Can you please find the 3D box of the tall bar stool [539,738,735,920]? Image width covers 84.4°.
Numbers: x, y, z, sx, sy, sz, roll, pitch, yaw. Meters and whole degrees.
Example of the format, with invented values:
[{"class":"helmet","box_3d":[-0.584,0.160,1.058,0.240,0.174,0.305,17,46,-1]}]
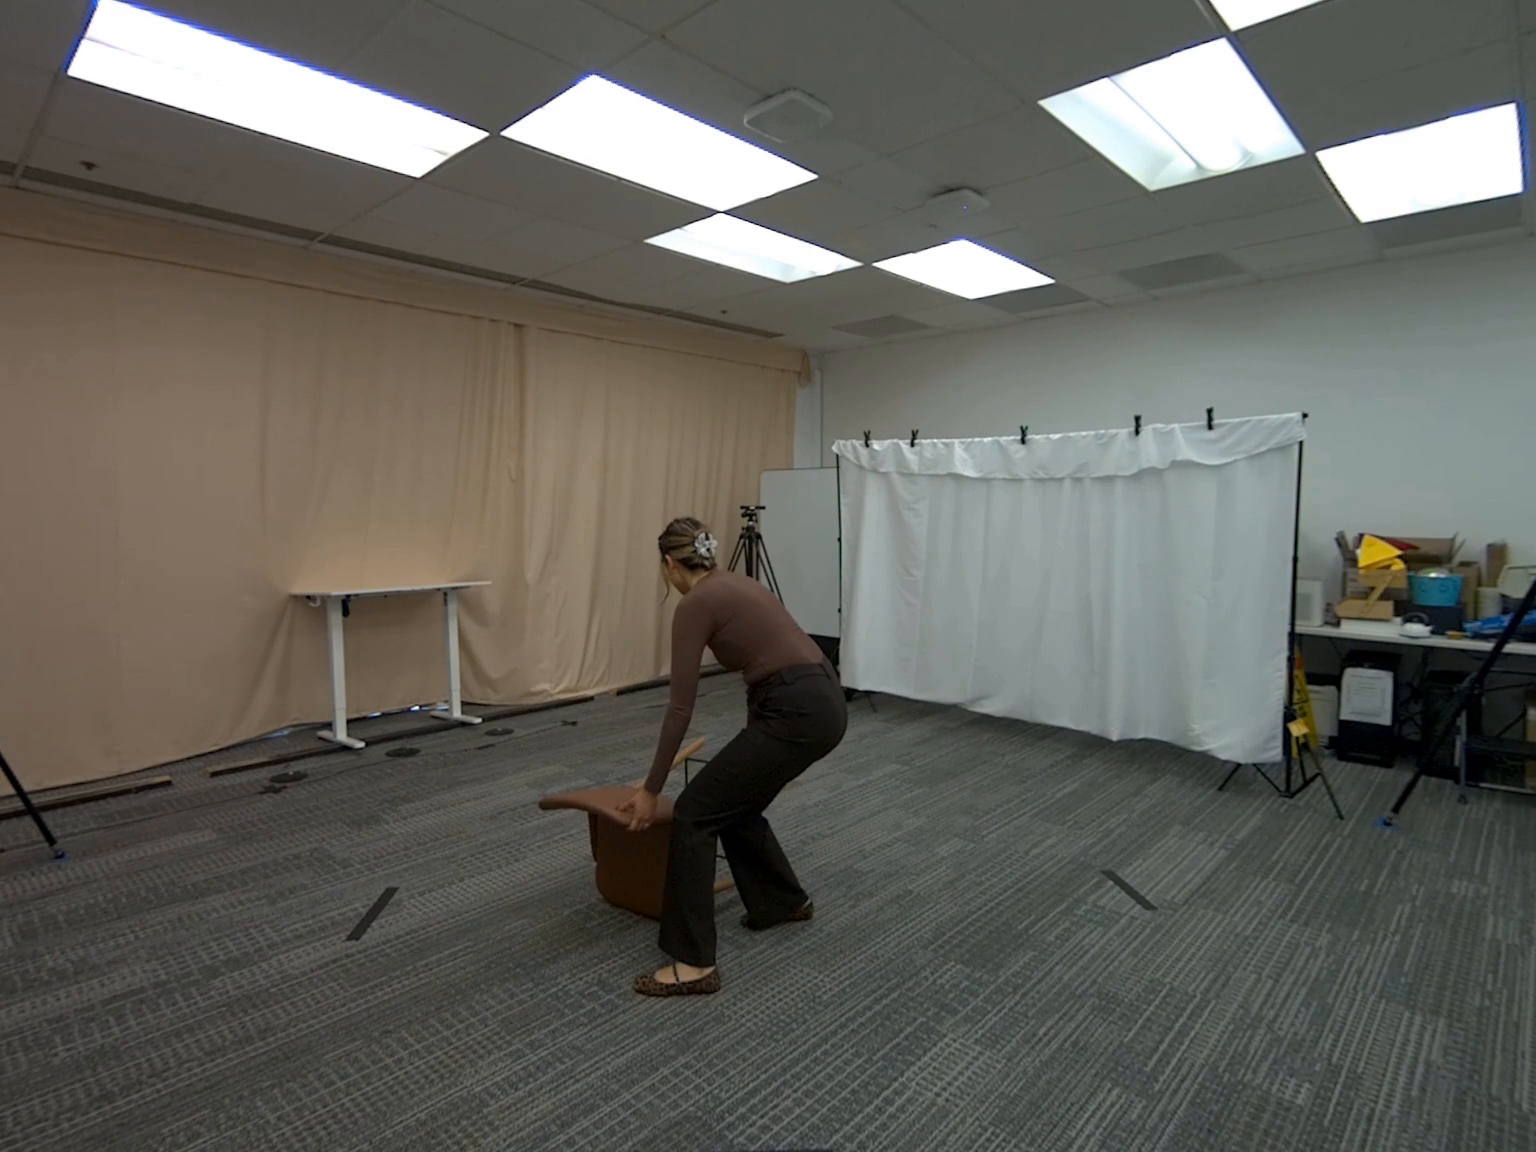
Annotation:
[{"class":"tall bar stool","box_3d":[-0.349,0.910,2.978,0.470,0.467,0.863,-1,2,35]}]
